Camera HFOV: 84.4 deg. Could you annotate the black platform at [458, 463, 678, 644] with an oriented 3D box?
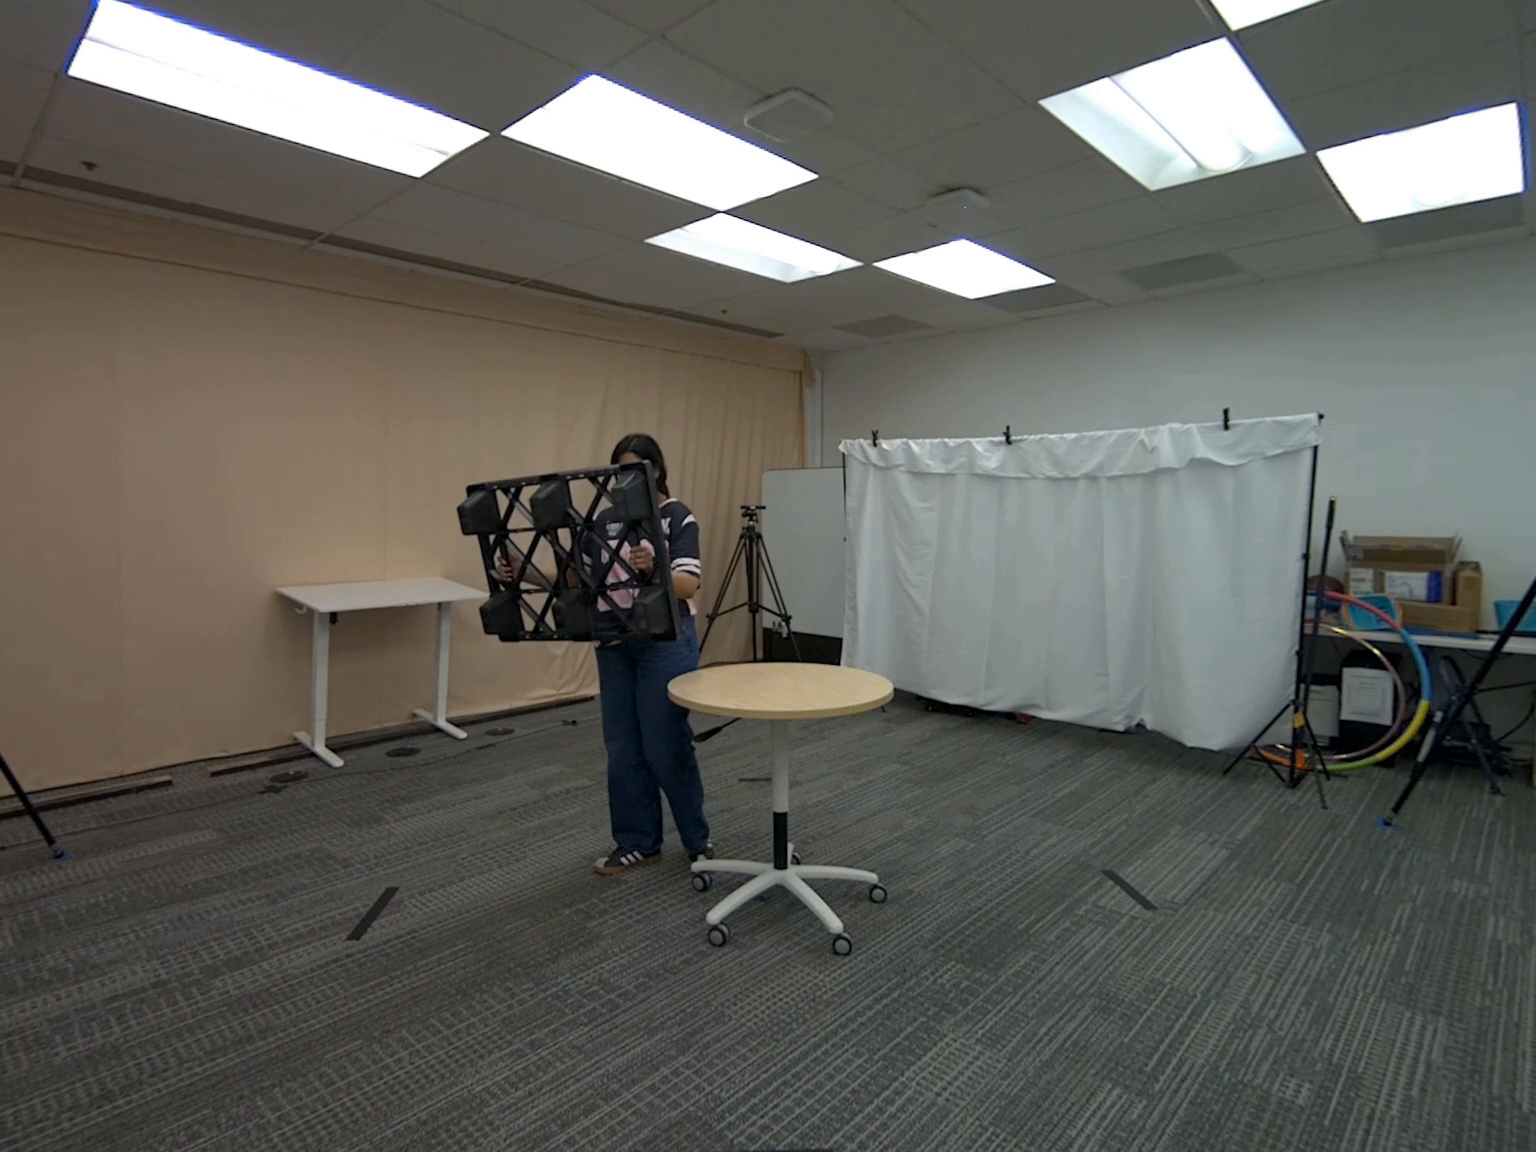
[{"bbox_3d":[-0.708,-0.041,2.880,0.827,0.601,0.140,-3,10,29],"label":"black platform"}]
